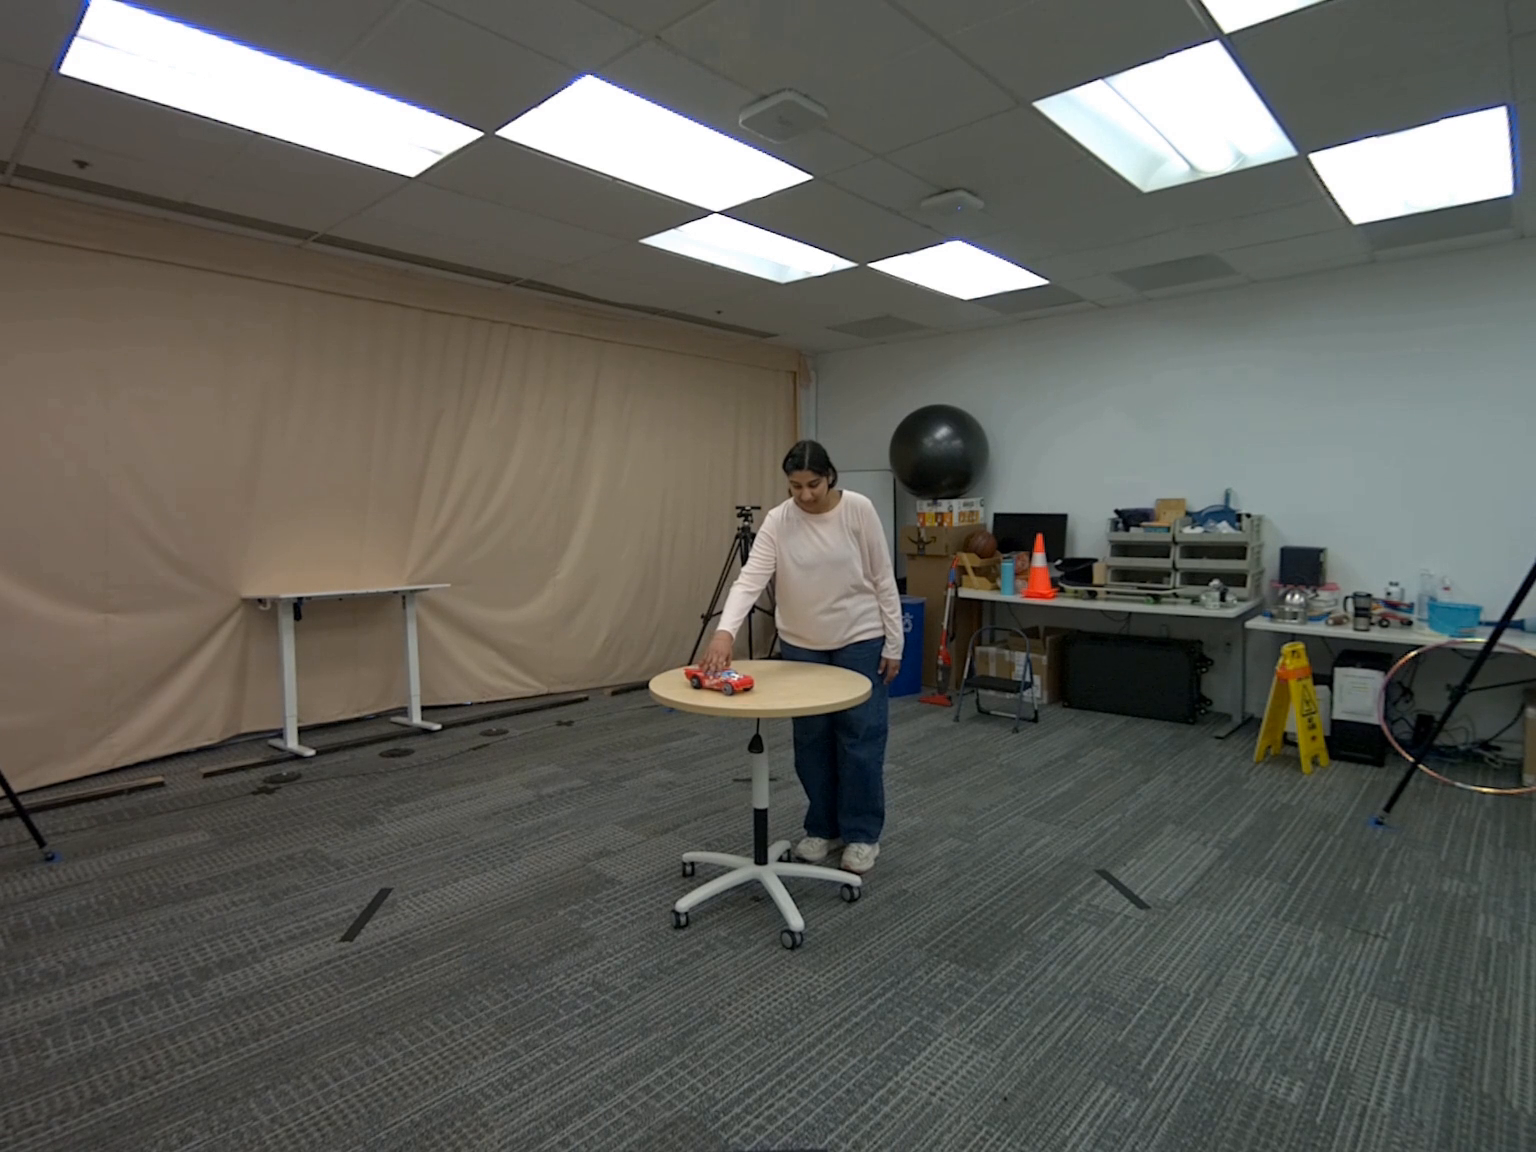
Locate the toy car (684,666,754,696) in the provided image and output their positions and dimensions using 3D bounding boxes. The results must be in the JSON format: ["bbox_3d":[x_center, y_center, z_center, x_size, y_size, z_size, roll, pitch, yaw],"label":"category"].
[{"bbox_3d":[-0.167,0.348,2.814,0.264,0.083,0.126,17,15,39],"label":"toy car"}]
